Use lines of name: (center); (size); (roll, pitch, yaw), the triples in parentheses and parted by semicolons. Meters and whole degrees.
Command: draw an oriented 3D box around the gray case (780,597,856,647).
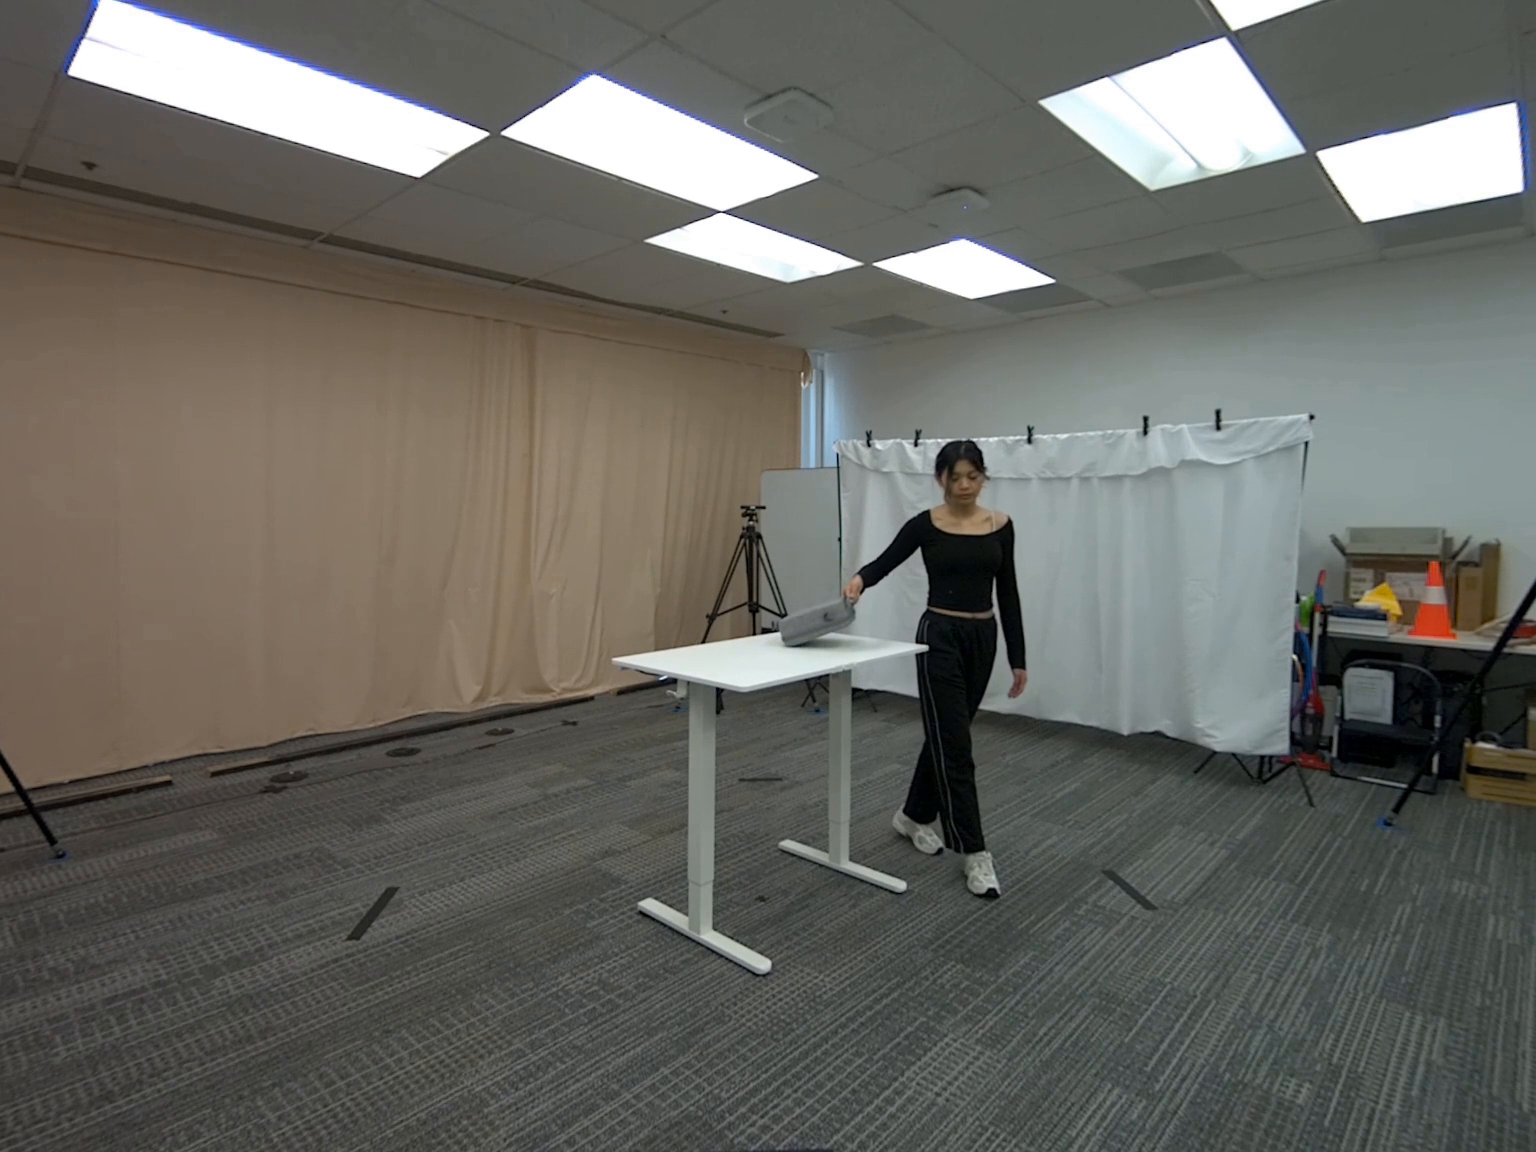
gray case: (0.186, 0.164, 3.103); (0.263, 0.104, 0.253); (-19, -2, 13)
